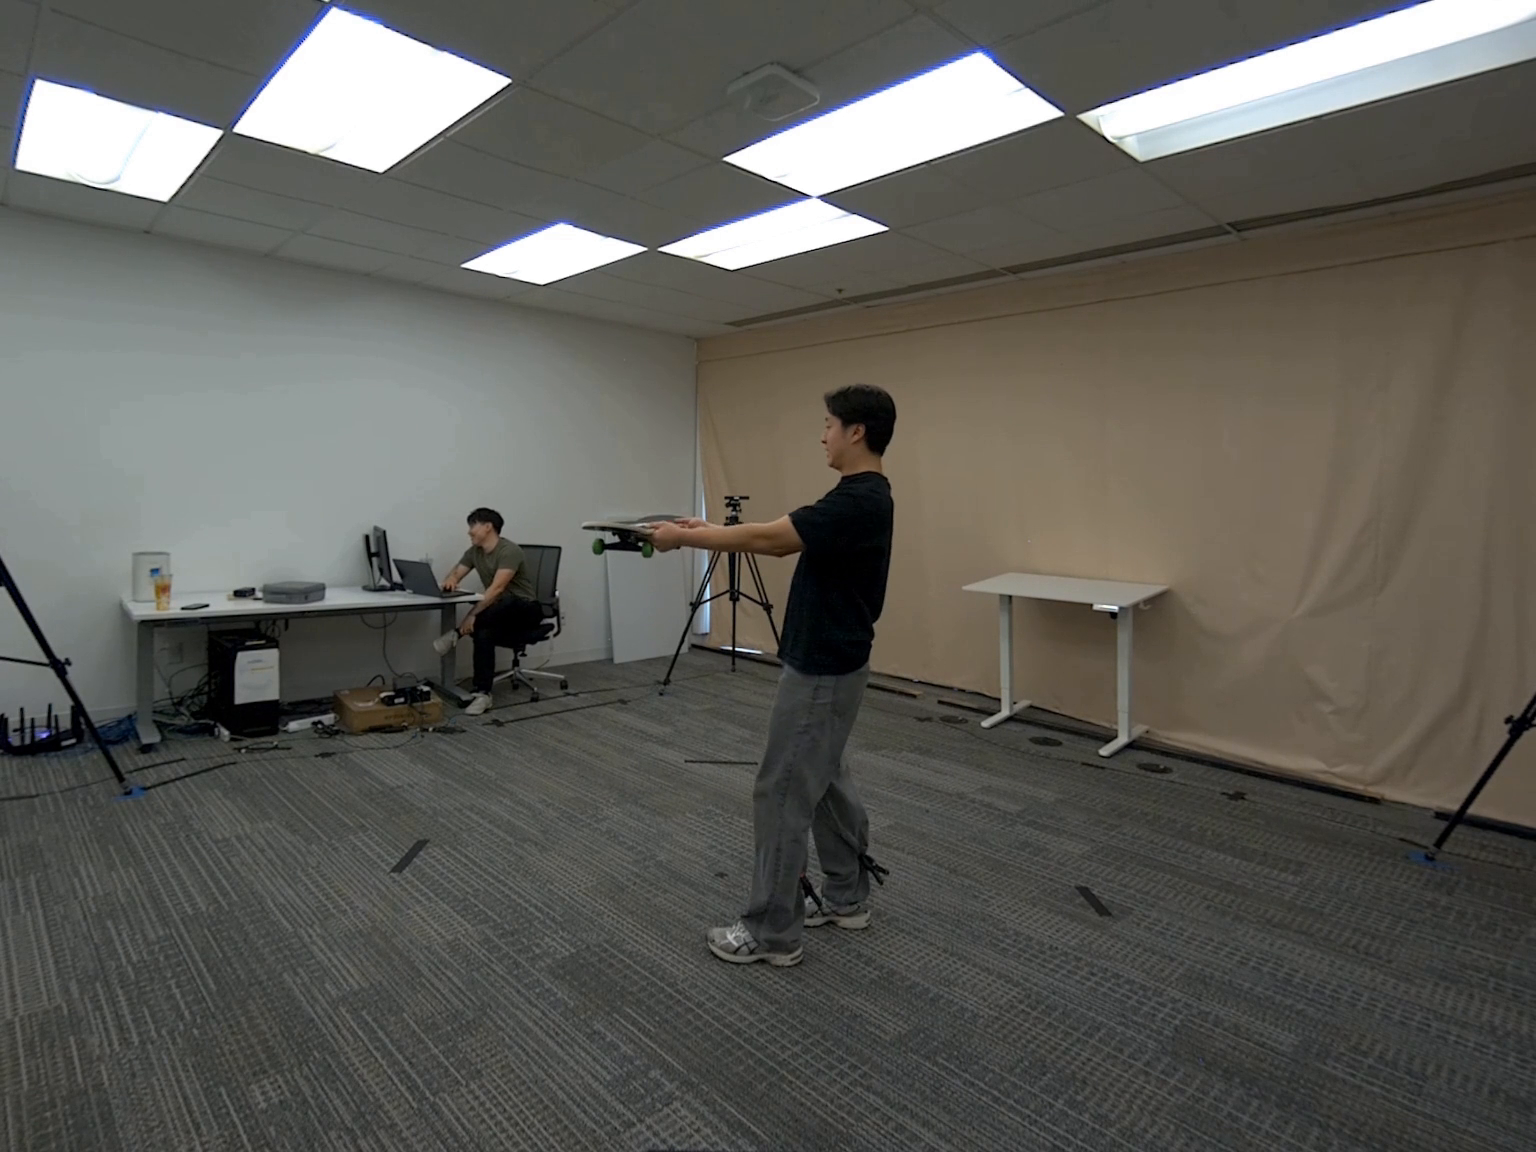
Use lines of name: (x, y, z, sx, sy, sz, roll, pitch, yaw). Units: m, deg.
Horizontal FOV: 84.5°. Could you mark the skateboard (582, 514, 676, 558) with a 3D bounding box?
skateboard: (-0.403, -0.132, 2.732, 0.195, 0.110, 0.781, 3, 5, 8)
